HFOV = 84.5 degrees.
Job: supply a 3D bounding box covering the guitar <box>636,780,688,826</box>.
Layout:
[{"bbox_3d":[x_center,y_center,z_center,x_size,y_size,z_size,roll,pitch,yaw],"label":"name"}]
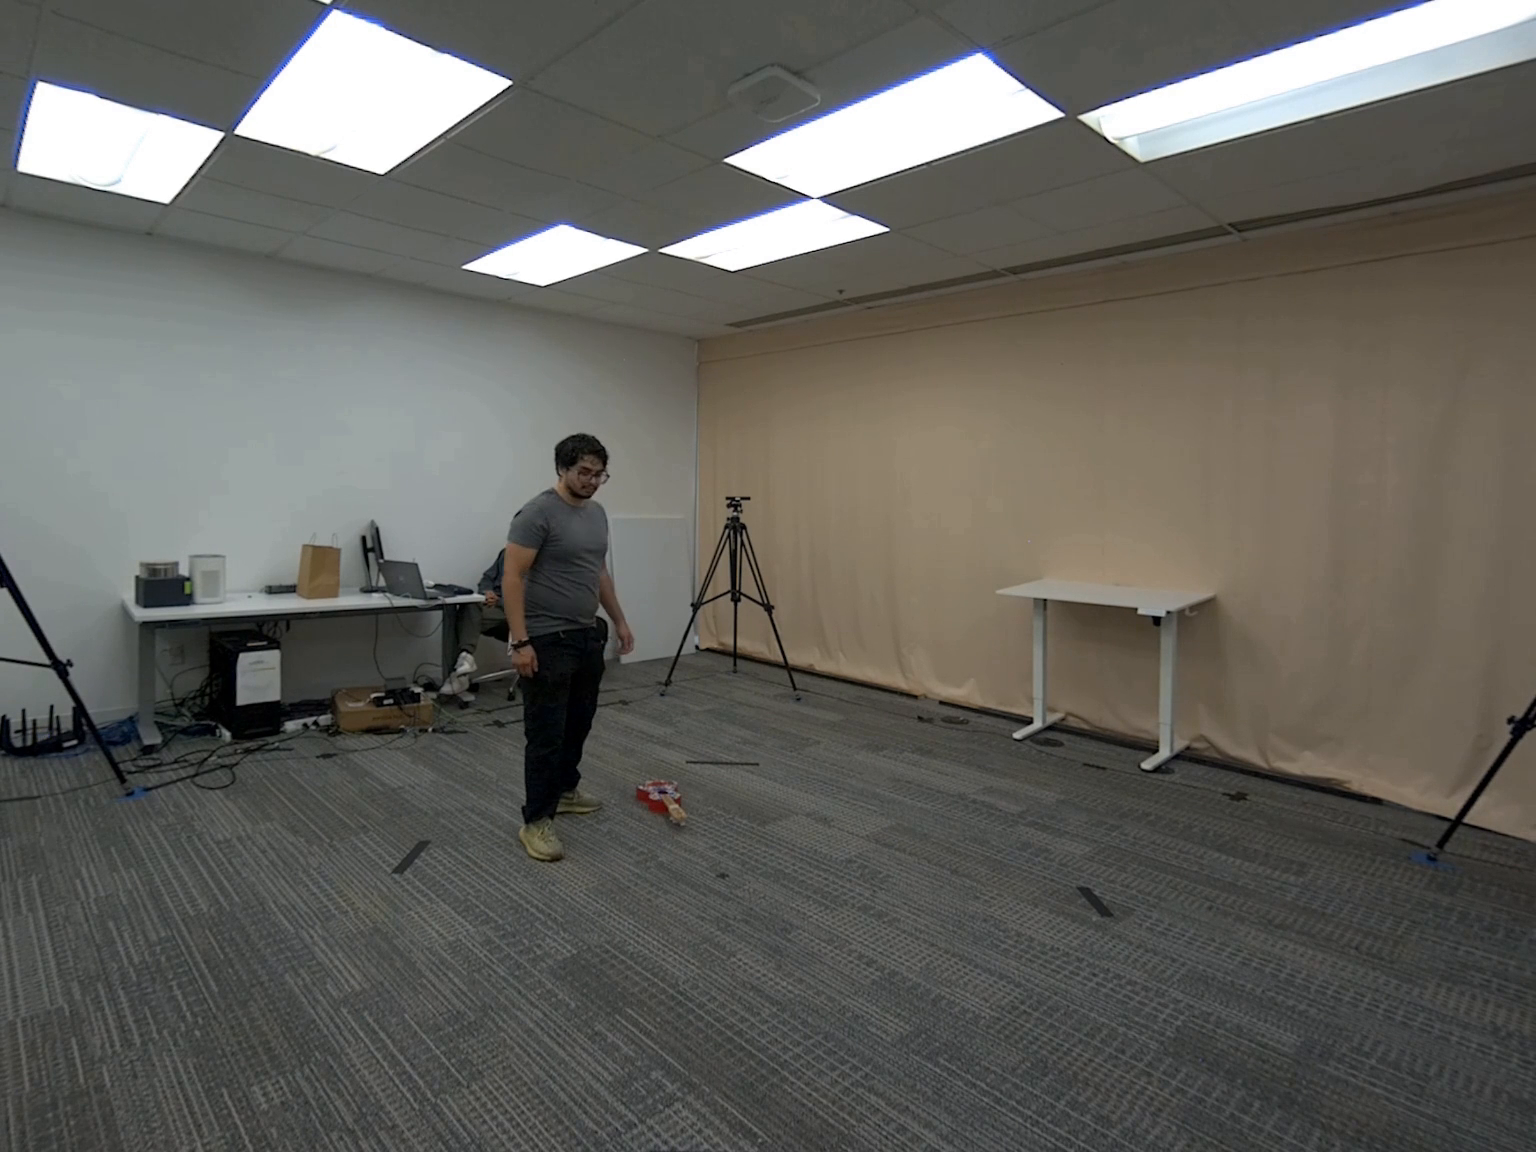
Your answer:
[{"bbox_3d":[-0.487,1.010,3.731,0.191,0.070,0.503,1,5,-11],"label":"guitar"}]
